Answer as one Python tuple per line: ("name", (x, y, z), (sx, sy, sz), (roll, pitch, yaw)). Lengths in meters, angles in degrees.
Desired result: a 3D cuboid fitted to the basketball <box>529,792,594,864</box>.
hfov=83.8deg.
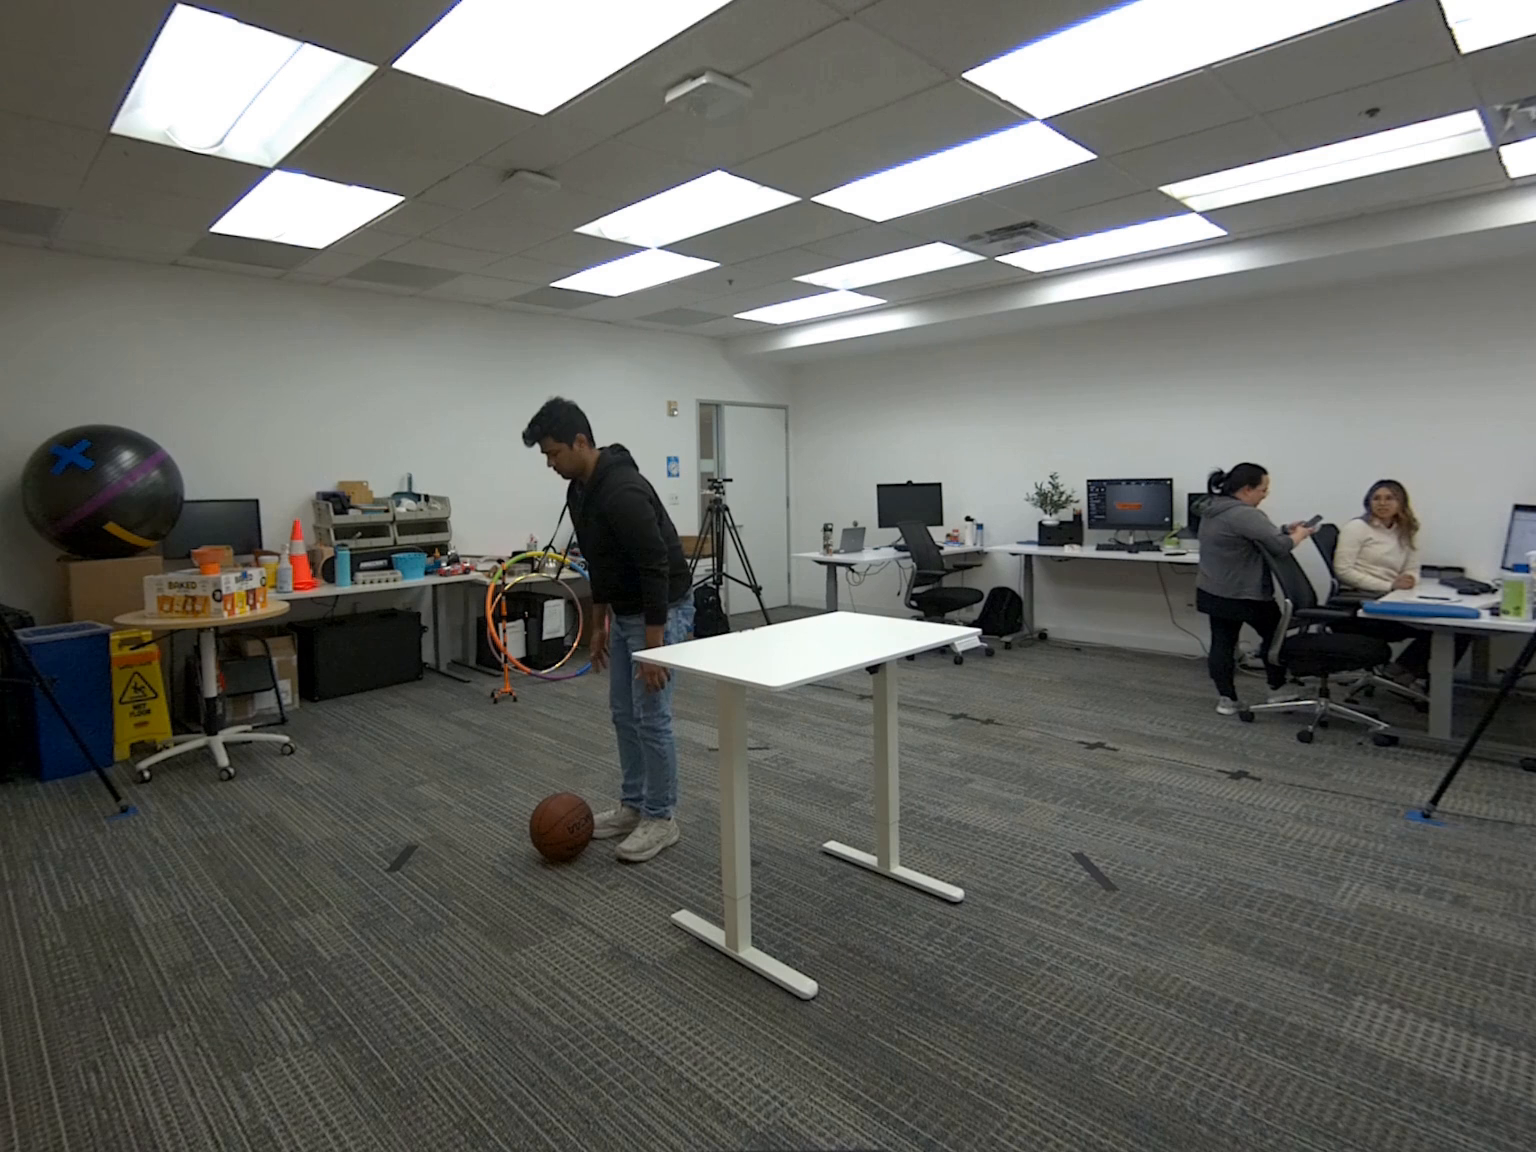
("basketball", (-0.760, 0.927, 3.174), (0.236, 0.235, 0.237), (-1, 5, -2))
